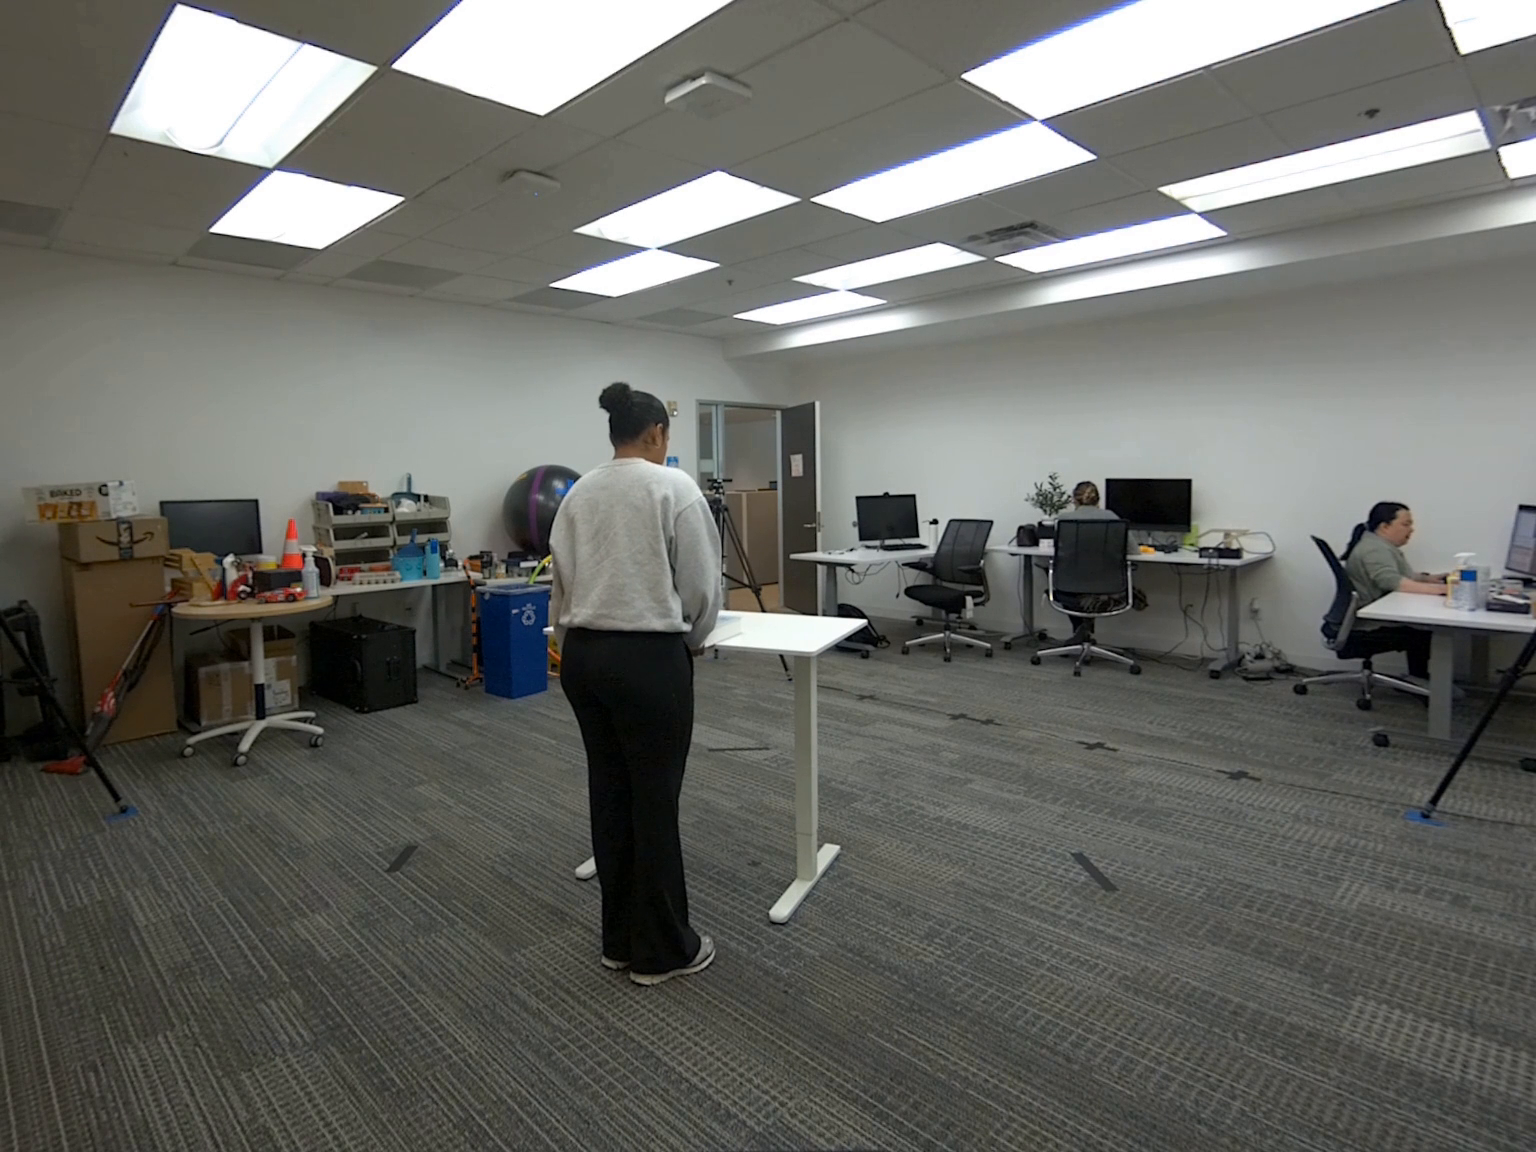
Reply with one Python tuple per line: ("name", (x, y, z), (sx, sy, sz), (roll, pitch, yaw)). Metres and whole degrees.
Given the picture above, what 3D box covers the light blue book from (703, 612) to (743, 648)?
("light blue book", (-0.225, 0.179, 2.791), (0.196, 0.059, 0.255), (3, 8, 30))
